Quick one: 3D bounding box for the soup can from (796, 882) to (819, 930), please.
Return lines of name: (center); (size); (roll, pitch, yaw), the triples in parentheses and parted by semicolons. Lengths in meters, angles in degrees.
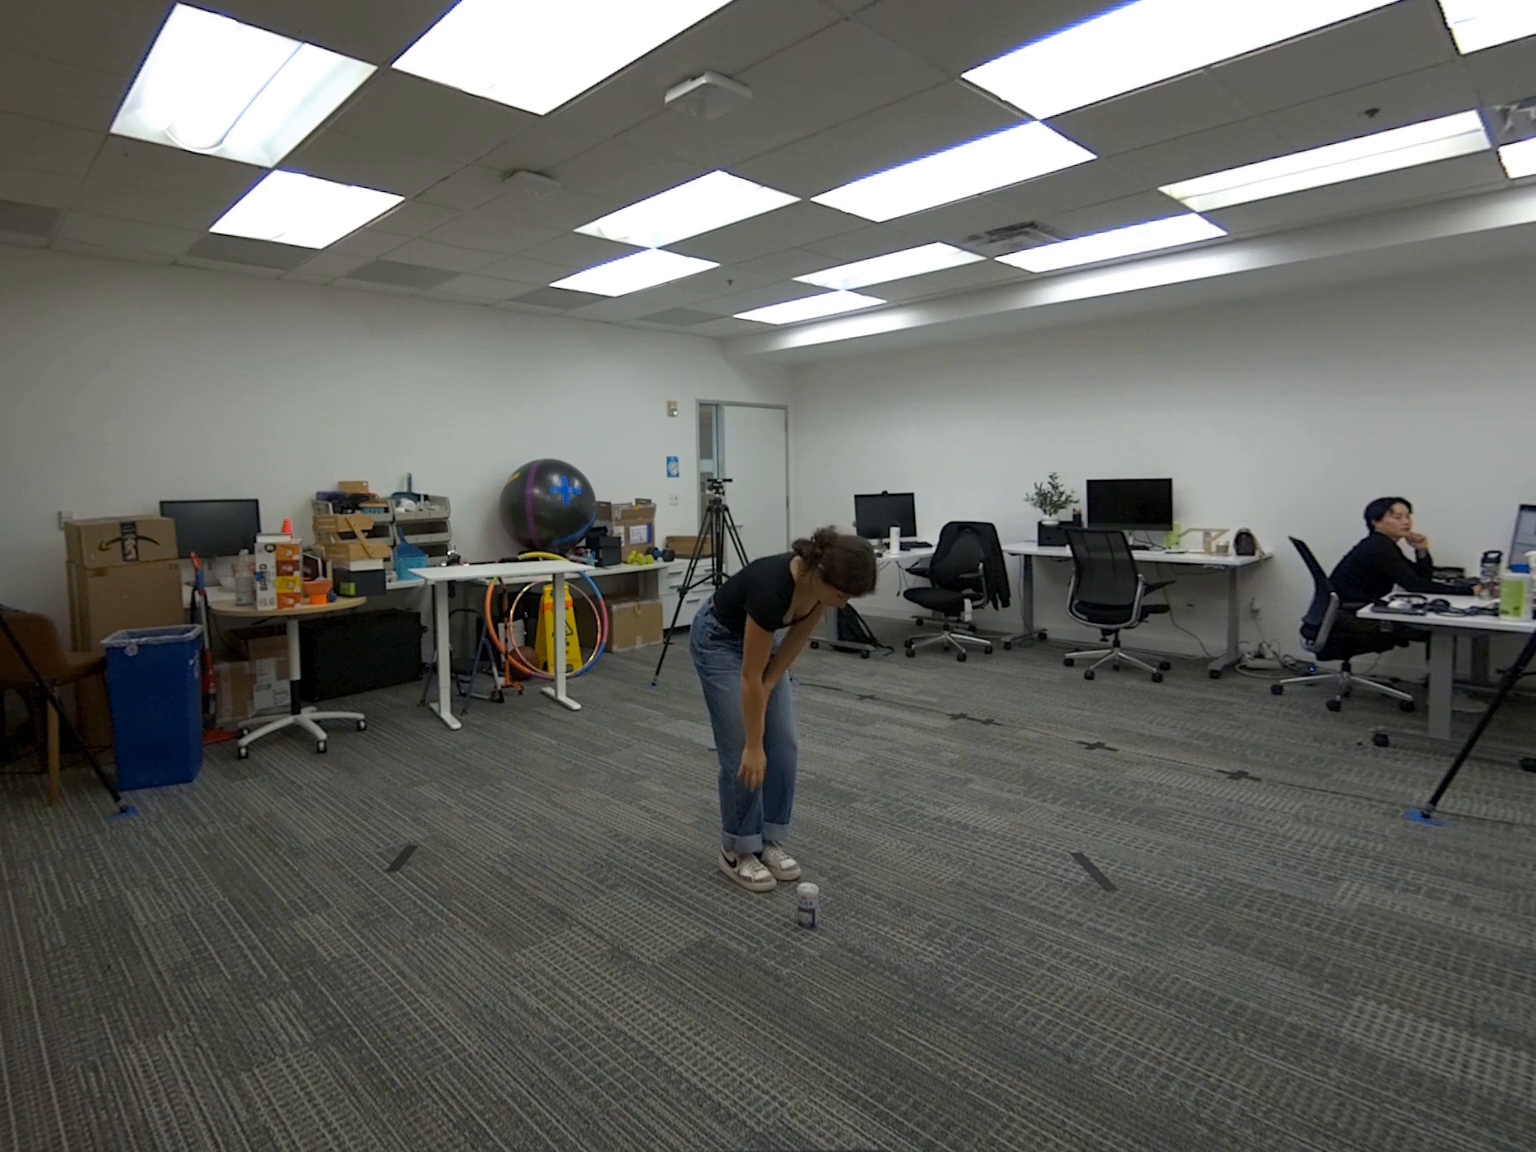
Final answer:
soup can: (0.127, 1.037, 2.674); (0.067, 0.120, 0.068); (-2, 8, -1)
